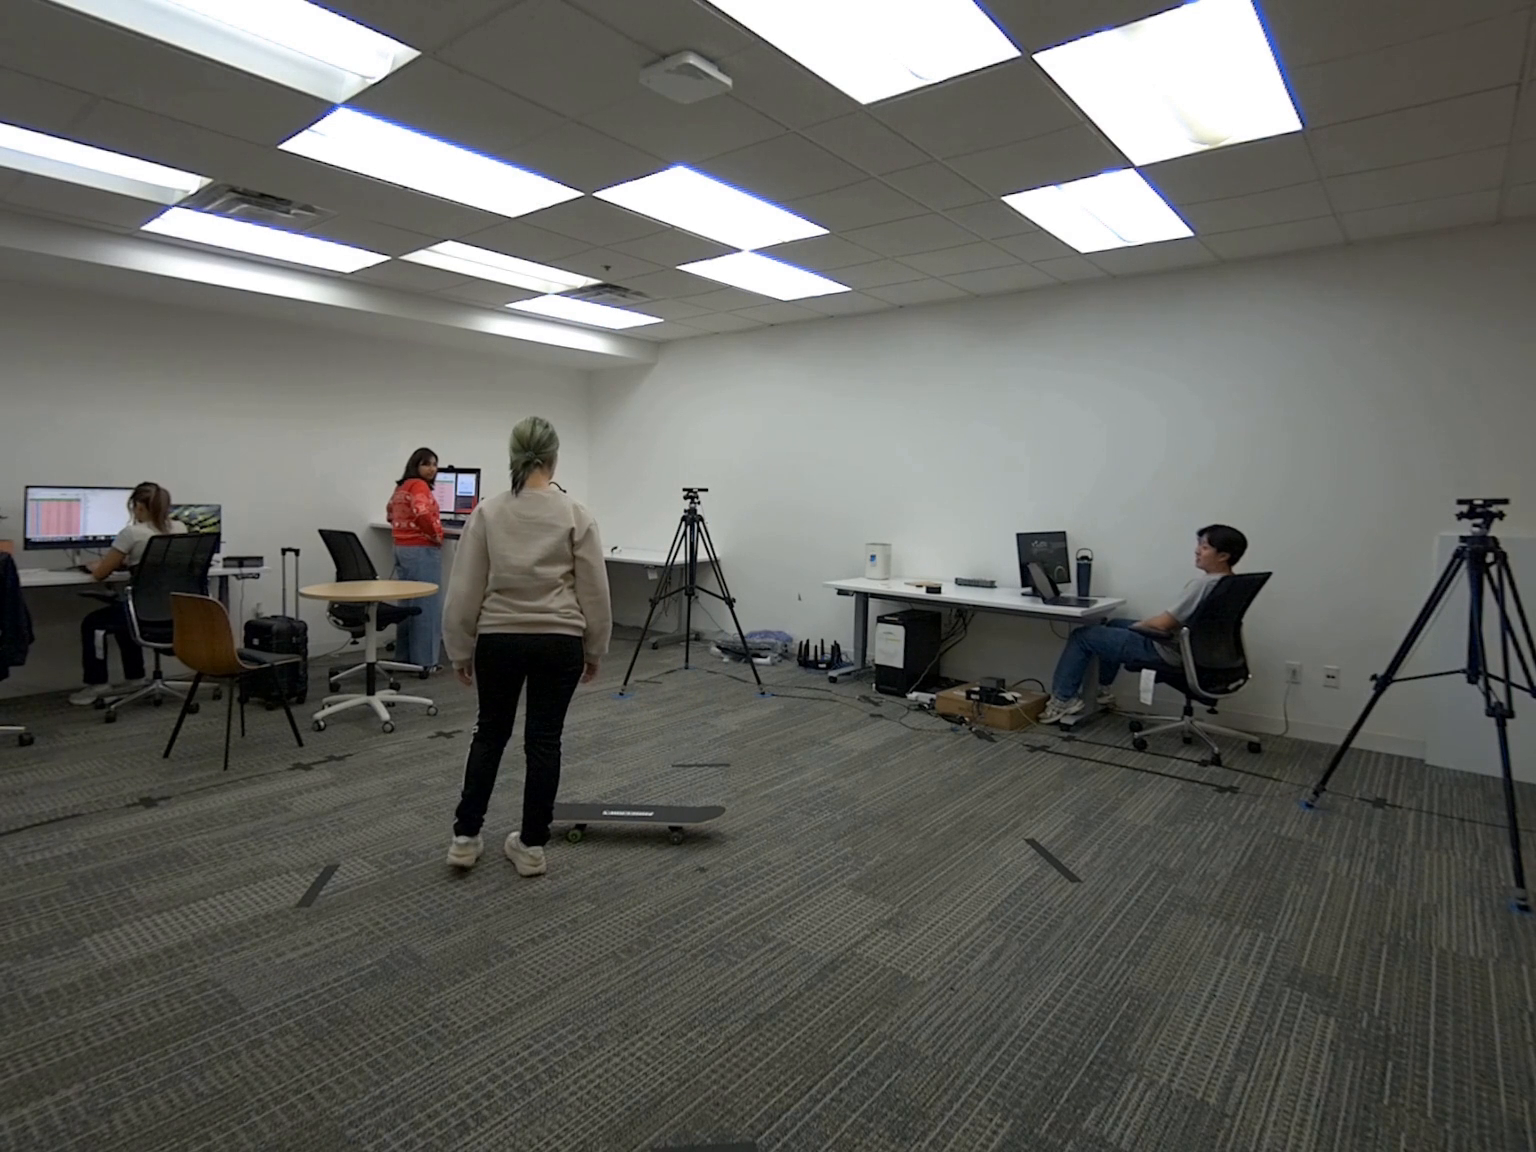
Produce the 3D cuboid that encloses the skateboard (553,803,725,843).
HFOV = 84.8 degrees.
[{"bbox_3d":[-0.573,0.976,3.407,0.786,0.110,0.194,1,4,1],"label":"skateboard"}]
